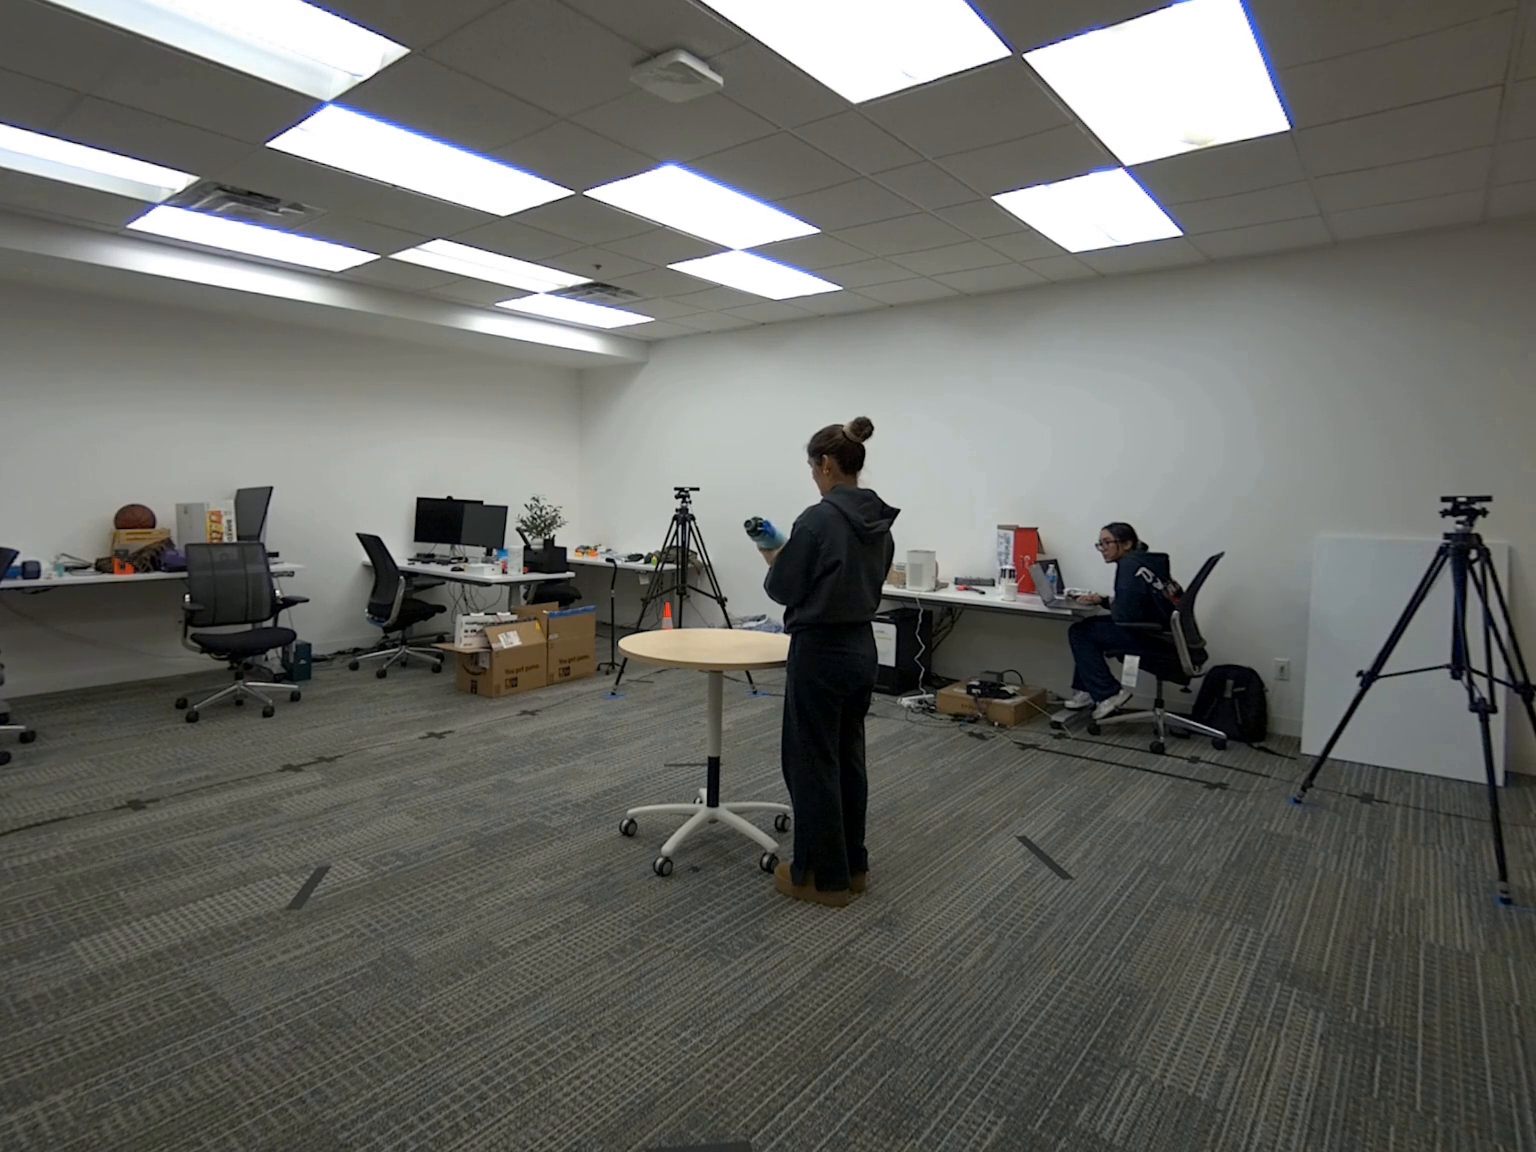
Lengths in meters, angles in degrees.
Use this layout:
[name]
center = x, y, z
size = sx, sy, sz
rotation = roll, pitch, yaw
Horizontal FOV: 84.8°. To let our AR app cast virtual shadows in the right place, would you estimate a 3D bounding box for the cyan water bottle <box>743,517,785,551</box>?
[cyan water bottle]
center = -0.002, -0.146, 3.135
size = 0.095, 0.093, 0.272
rotation = 2, -17, 25
